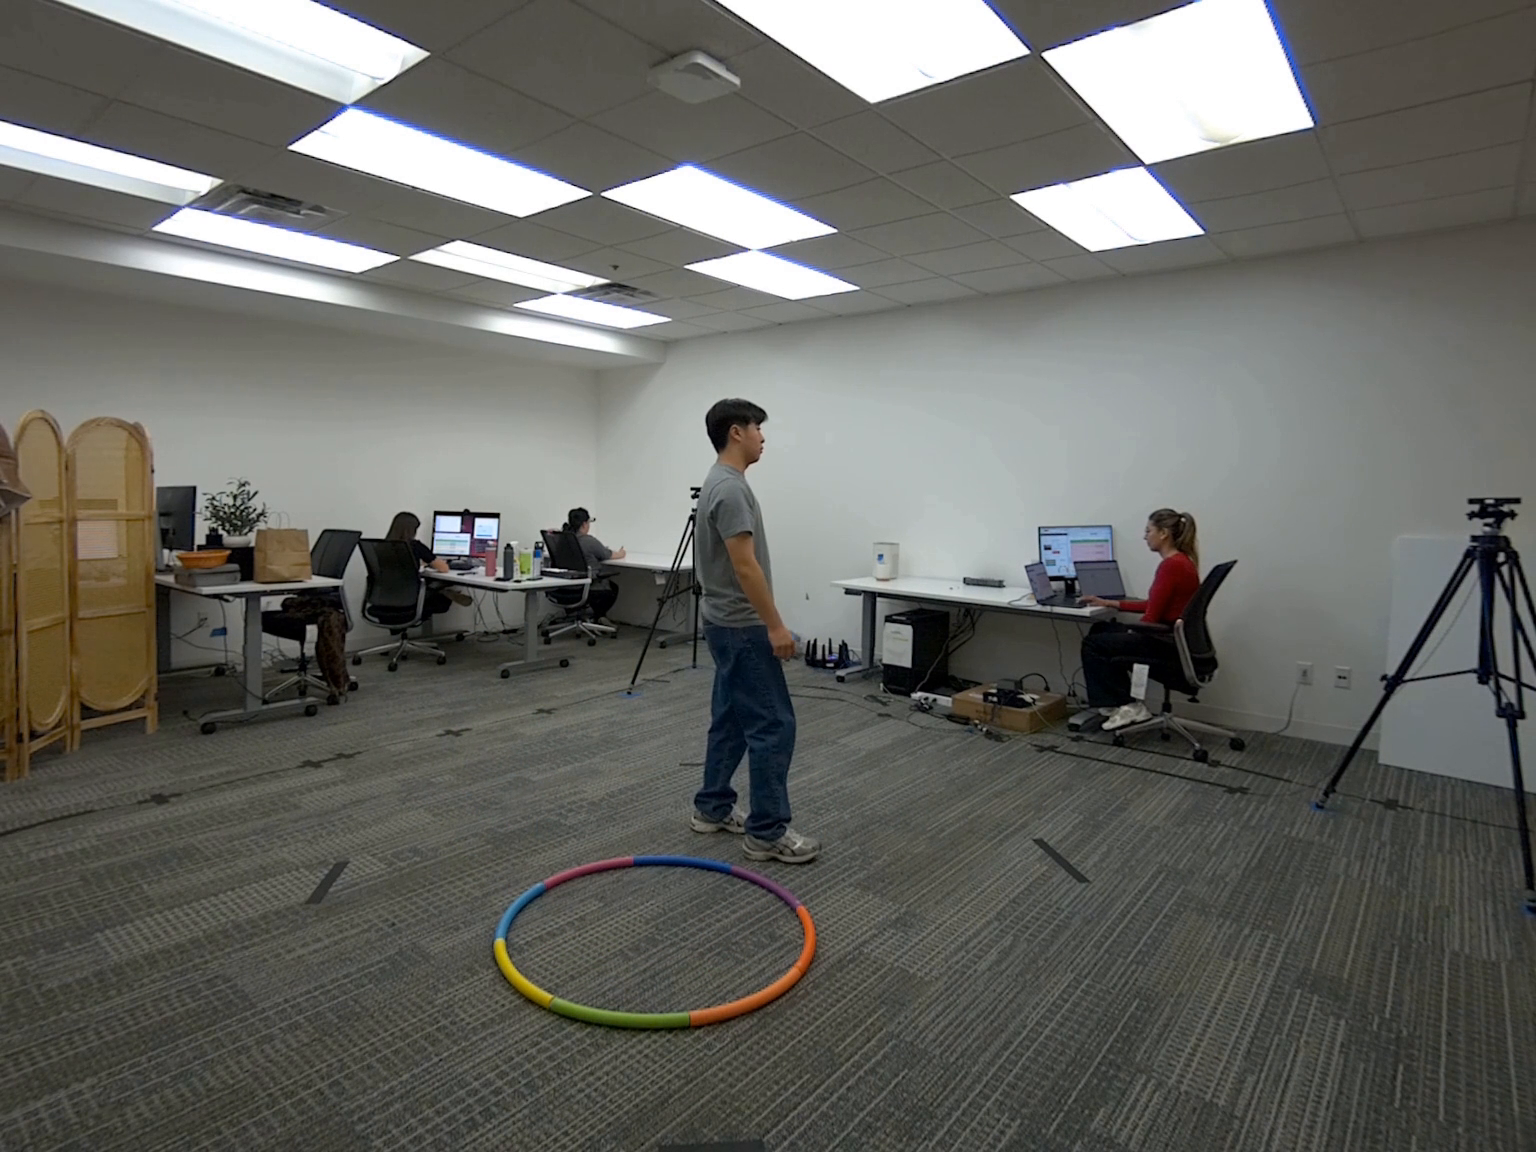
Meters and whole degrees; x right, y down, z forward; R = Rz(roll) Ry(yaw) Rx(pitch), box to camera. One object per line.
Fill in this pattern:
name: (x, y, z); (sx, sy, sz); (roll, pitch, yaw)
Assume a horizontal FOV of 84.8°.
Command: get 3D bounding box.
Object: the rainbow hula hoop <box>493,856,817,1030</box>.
rainbow hula hoop: (-0.355, 1.074, 2.658); (0.978, 0.035, 0.984); (1, 6, -2)
